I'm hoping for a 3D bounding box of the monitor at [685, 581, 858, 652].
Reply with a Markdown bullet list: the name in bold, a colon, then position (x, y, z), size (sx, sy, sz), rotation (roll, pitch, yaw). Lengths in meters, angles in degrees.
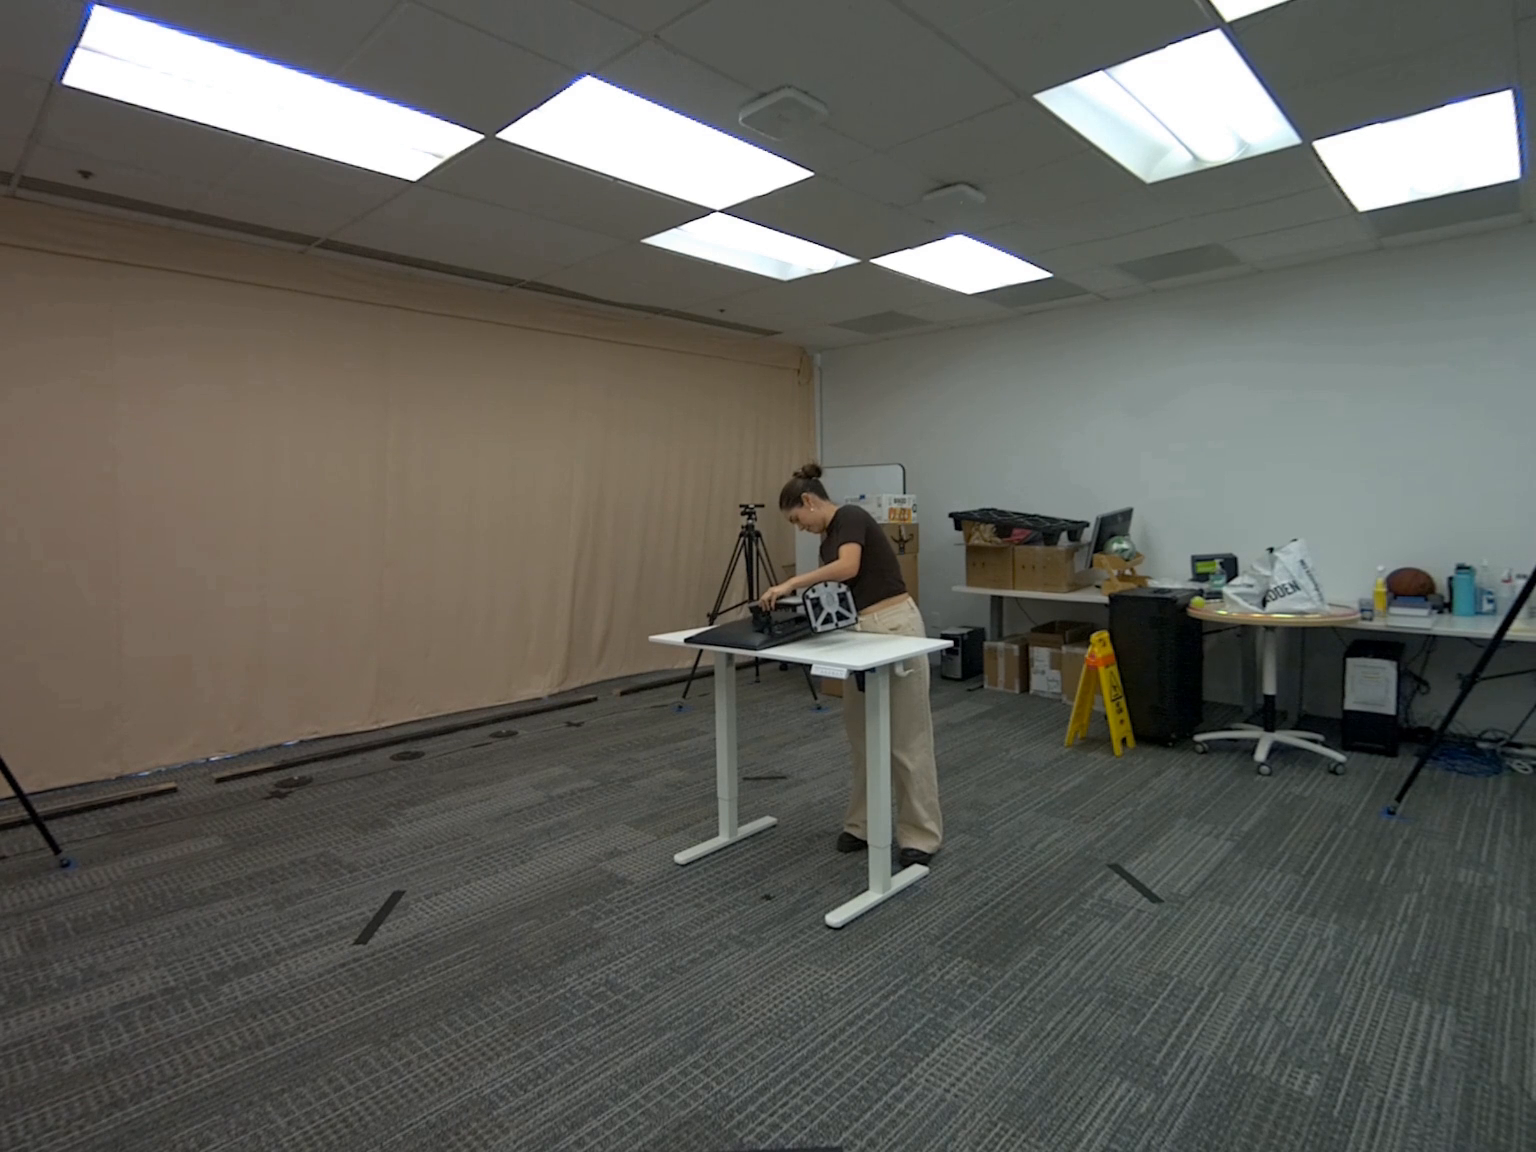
- **monitor**: position (0.046, 0.162, 3.168), size (0.535, 0.188, 0.523), rotation (-18, -6, 41)
